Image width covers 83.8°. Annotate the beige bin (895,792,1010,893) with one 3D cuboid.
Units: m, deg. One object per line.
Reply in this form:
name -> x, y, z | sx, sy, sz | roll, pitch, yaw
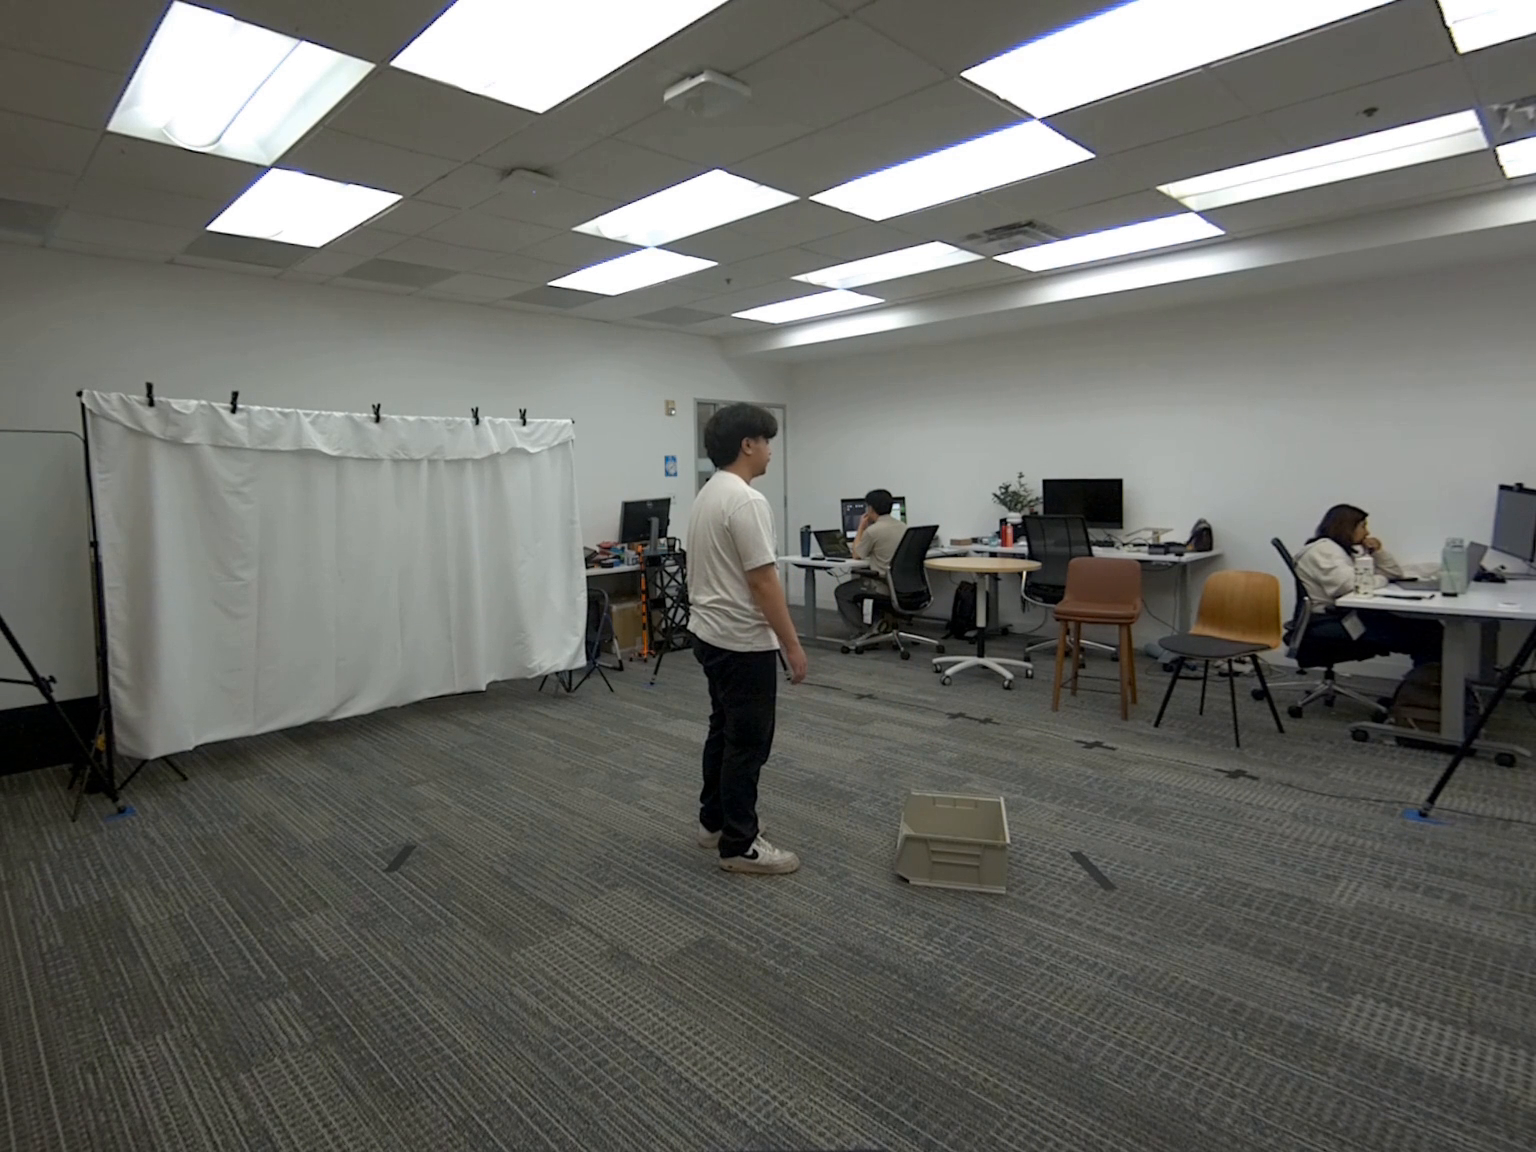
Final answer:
beige bin -> 0.665, 0.945, 3.072 | 0.382, 0.188, 0.418 | 1, 5, 13
